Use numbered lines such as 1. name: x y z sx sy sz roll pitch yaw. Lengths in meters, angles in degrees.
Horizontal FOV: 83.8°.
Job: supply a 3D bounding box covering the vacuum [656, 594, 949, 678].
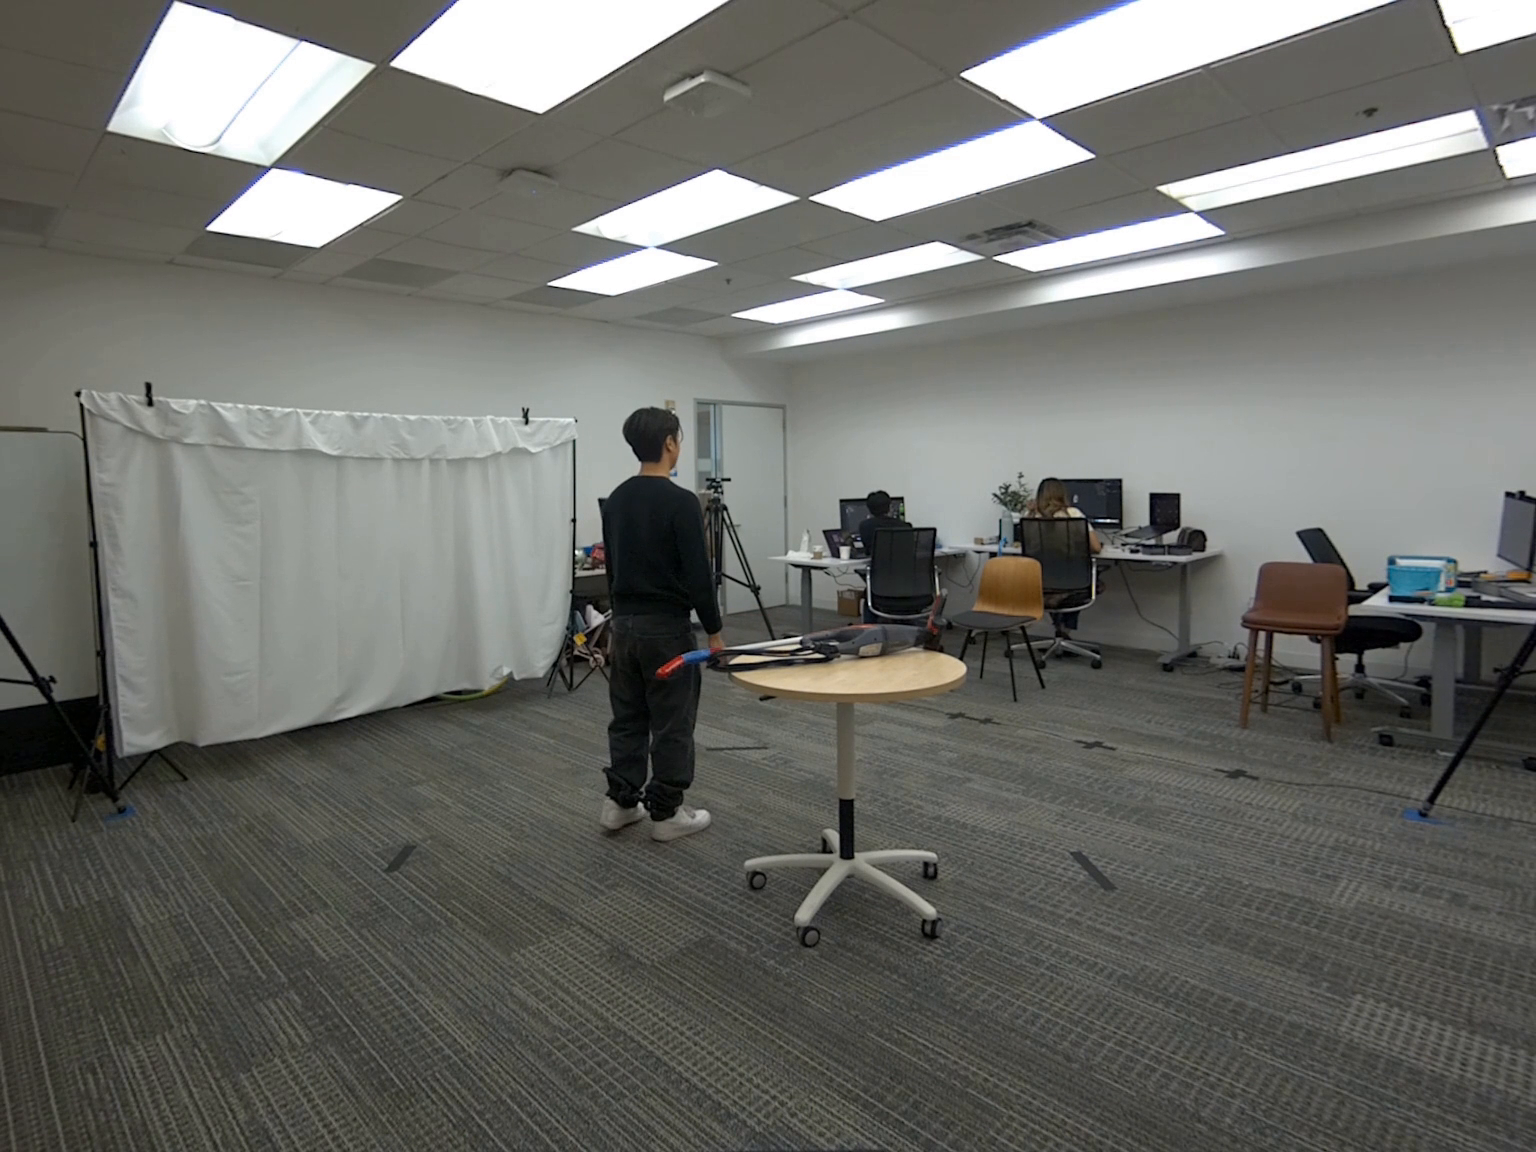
1. vacuum: 0.136 0.250 2.833 1.030 0.247 0.149 -8 37 -23
